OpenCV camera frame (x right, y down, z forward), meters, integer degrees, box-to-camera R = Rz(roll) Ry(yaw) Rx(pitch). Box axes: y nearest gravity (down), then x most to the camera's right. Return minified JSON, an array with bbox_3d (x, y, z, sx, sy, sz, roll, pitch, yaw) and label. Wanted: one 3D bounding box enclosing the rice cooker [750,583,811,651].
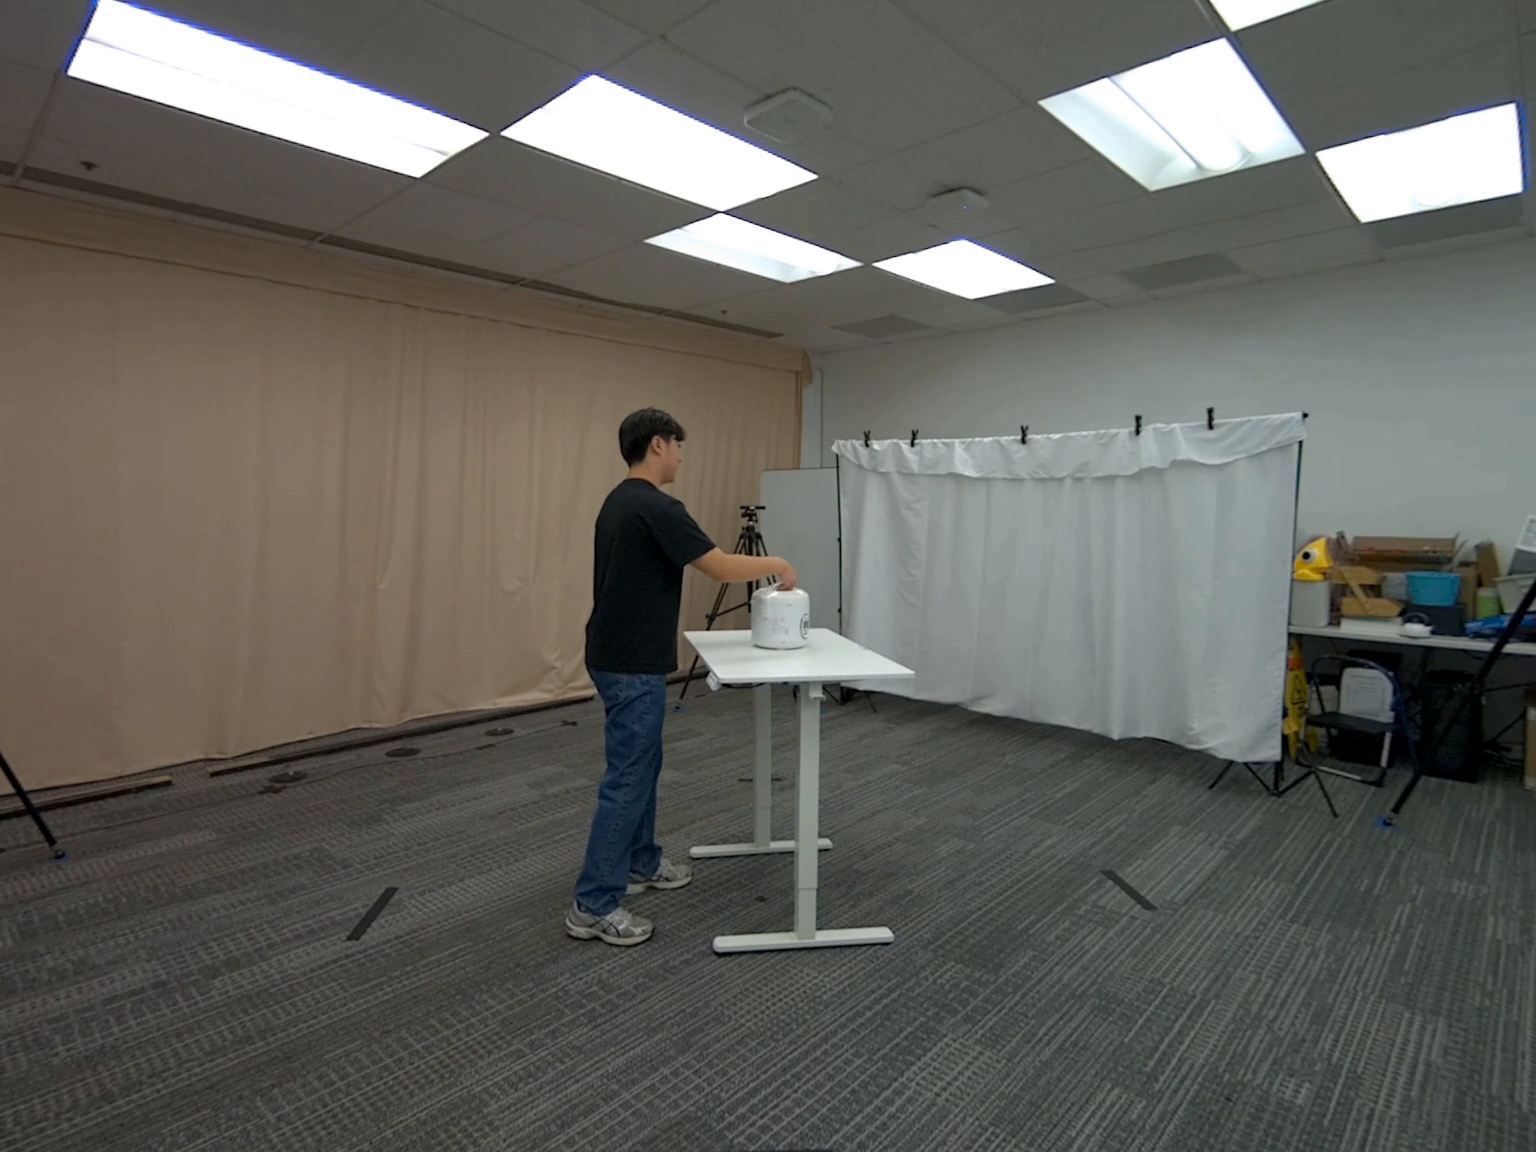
[{"bbox_3d":[0.047,0.140,3.047,0.224,0.232,0.214,1,3,35],"label":"rice cooker"}]
